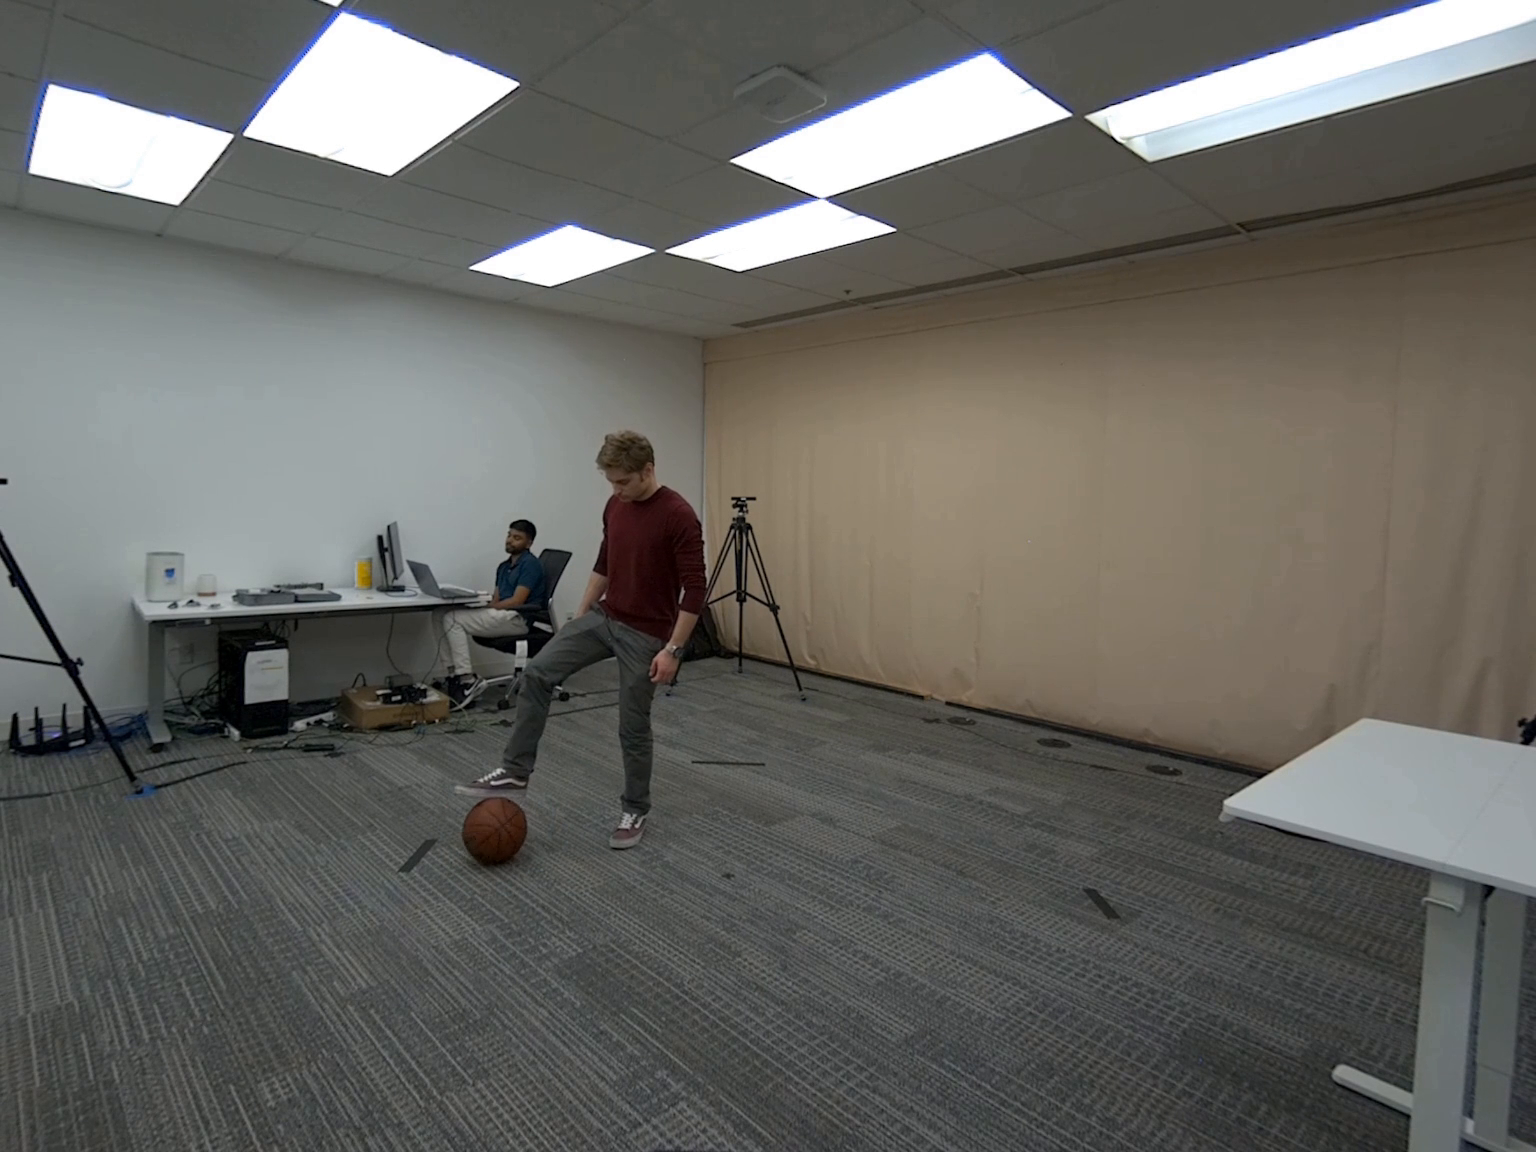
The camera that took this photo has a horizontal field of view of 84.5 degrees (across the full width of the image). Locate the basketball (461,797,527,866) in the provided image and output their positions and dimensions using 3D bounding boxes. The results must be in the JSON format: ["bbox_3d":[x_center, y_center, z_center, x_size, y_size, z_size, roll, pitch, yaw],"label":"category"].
[{"bbox_3d":[-1.035,0.960,3.180,0.236,0.235,0.237,1,4,-1],"label":"basketball"}]
